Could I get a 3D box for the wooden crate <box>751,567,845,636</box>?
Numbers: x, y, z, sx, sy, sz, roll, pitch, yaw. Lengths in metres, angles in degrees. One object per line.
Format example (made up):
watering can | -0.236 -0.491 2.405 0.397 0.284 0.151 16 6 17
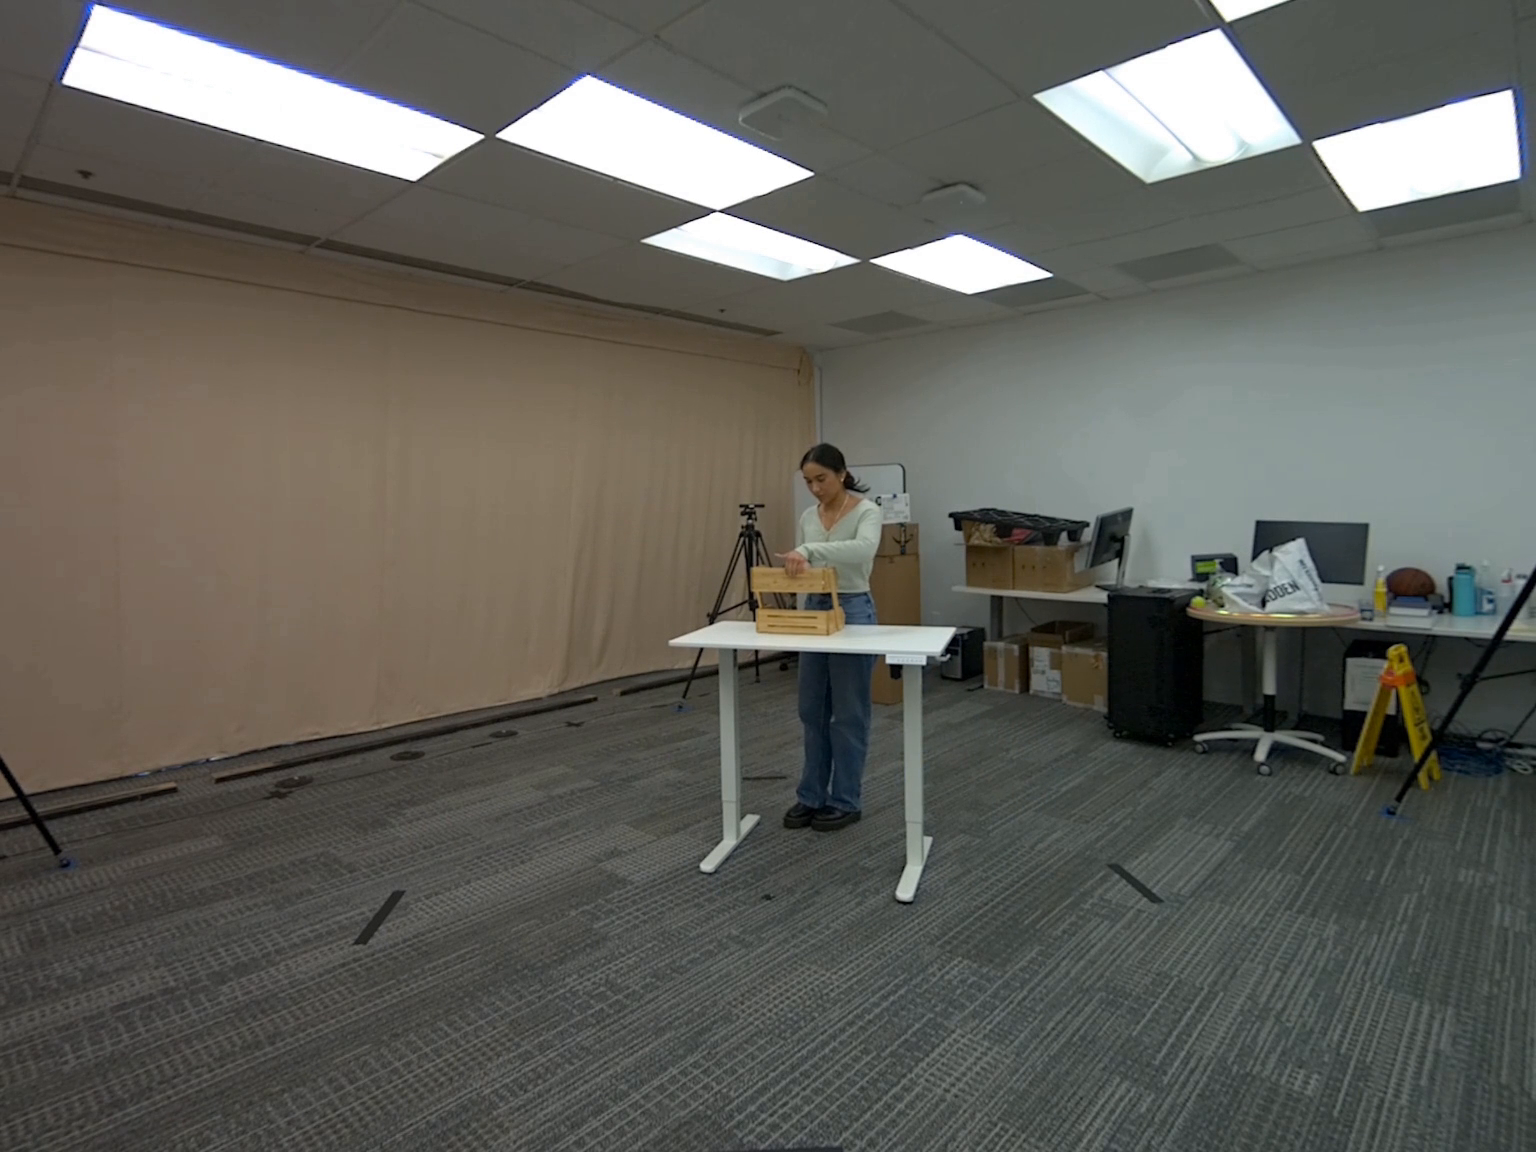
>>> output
wooden crate | 0.127 0.086 3.391 0.332 0.273 0.296 0 4 21
